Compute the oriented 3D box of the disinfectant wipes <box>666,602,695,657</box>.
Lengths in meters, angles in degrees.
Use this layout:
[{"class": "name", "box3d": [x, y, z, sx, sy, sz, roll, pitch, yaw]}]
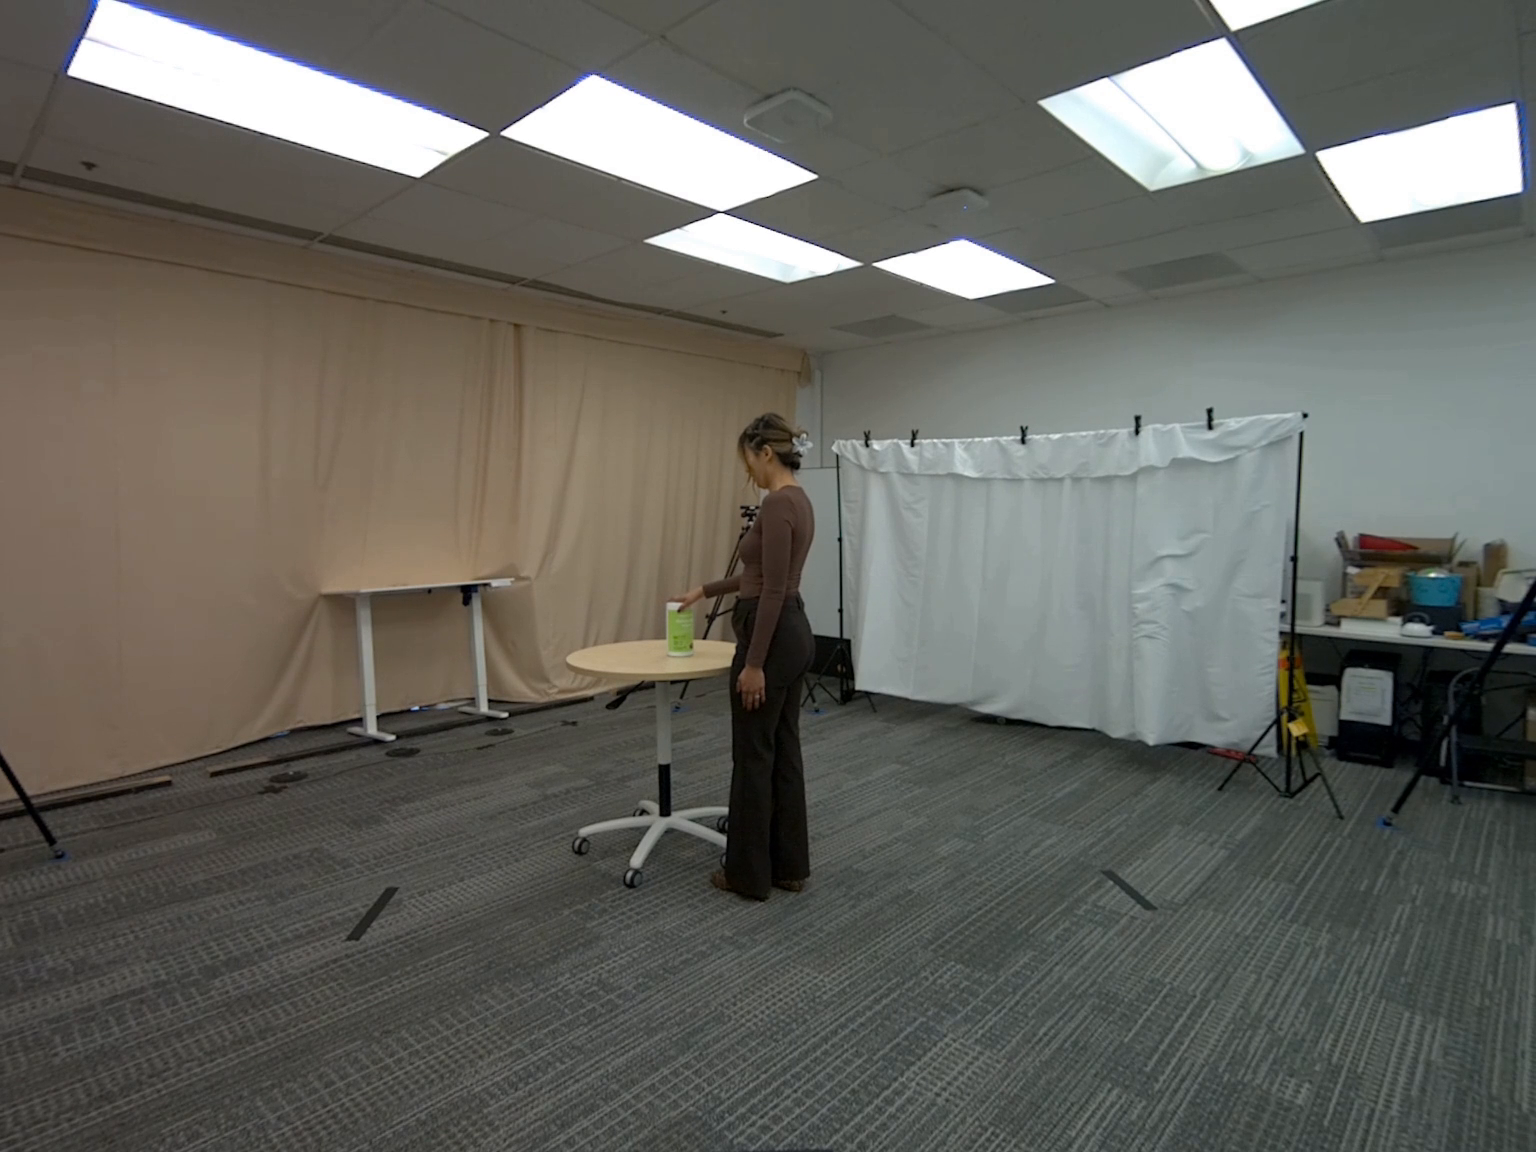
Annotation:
[{"class": "disinfectant wipes", "box3d": [-0.354, 0.210, 3.371, 0.117, 0.217, 0.118, 1, 3, -2]}]
